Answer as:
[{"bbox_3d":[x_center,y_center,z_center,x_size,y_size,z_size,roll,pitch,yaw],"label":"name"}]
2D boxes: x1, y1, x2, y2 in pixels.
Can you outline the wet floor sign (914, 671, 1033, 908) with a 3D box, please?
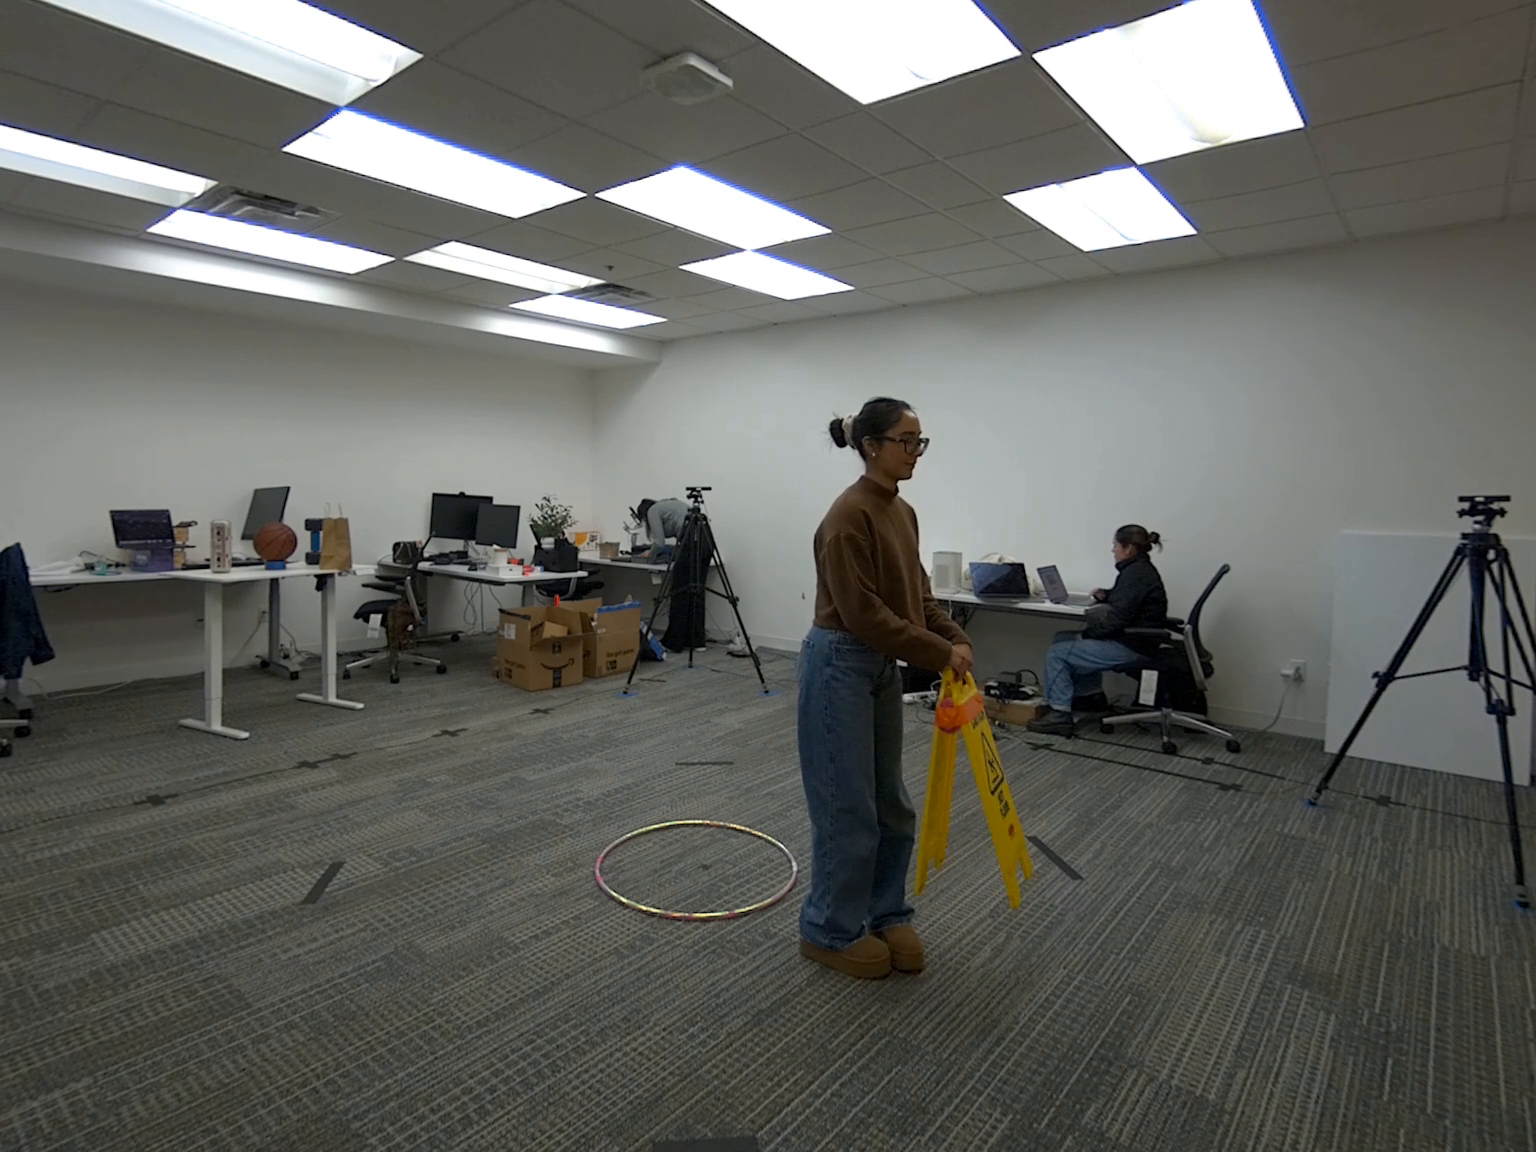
[{"bbox_3d":[0.558,0.561,2.433,0.297,0.645,0.276,-4,1,27],"label":"wet floor sign"}]
